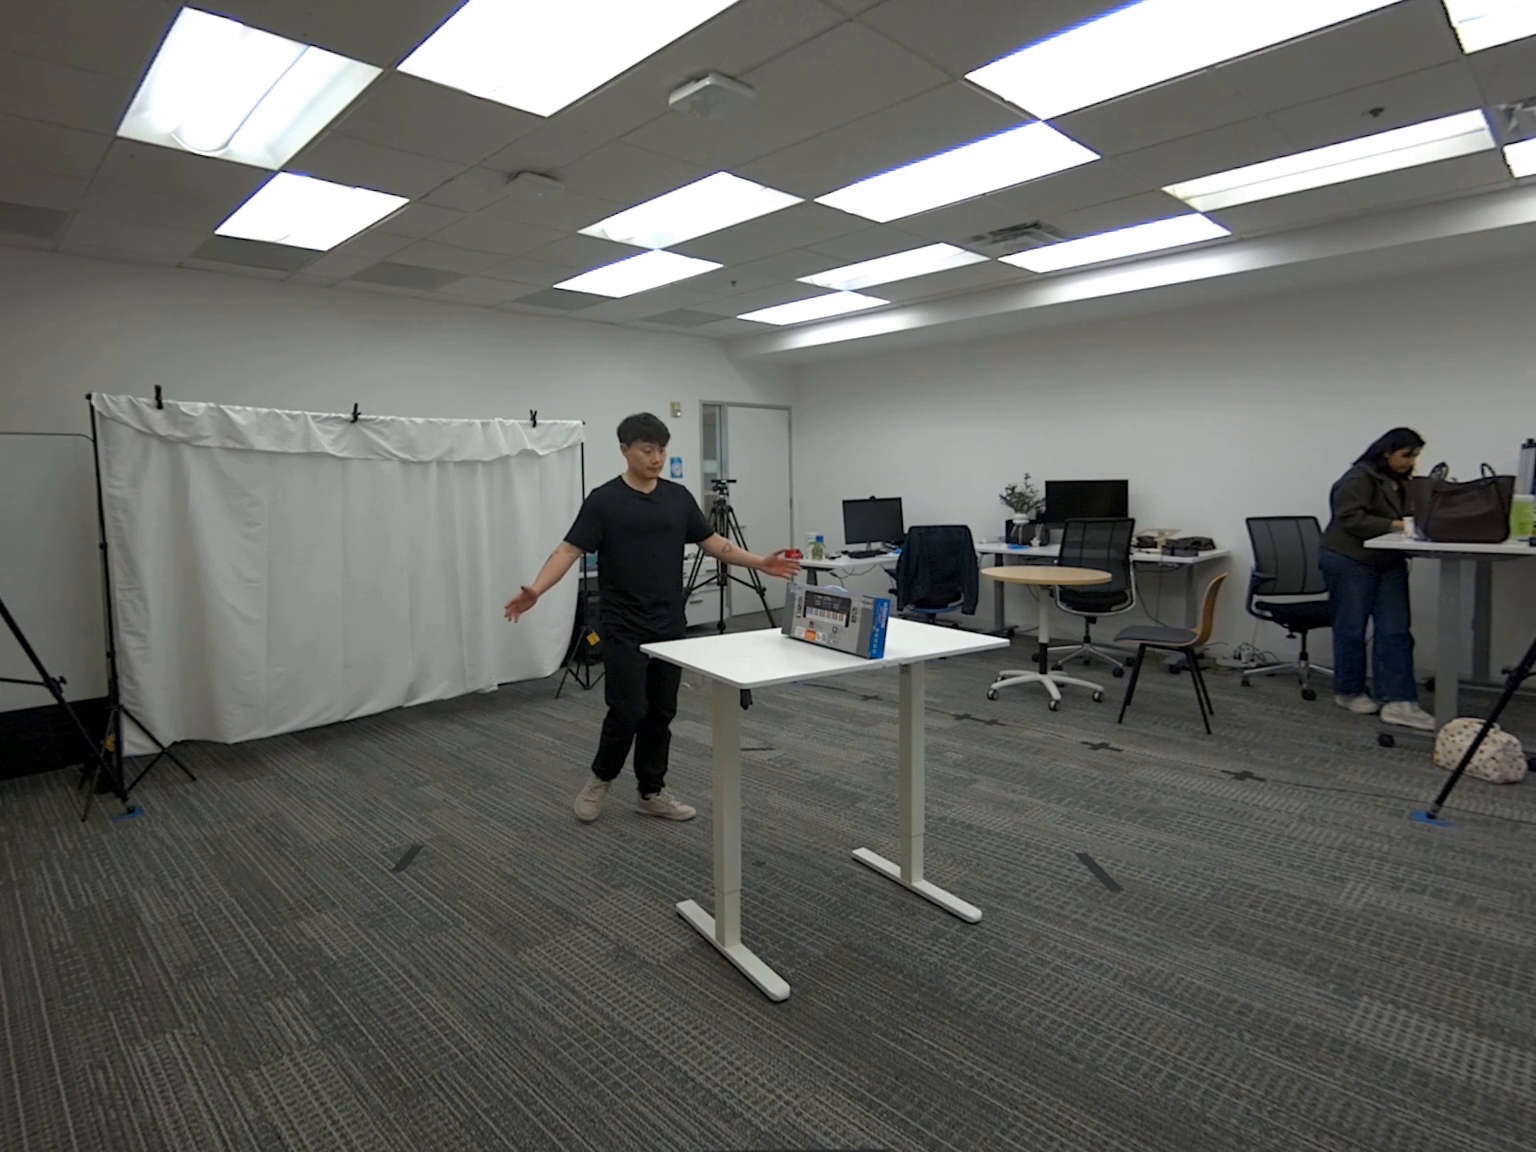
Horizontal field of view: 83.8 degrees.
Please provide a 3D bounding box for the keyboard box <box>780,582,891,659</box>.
[{"bbox_3d":[0.203,0.131,2.600,0.057,0.176,0.449,7,1,-33],"label":"keyboard box"}]
